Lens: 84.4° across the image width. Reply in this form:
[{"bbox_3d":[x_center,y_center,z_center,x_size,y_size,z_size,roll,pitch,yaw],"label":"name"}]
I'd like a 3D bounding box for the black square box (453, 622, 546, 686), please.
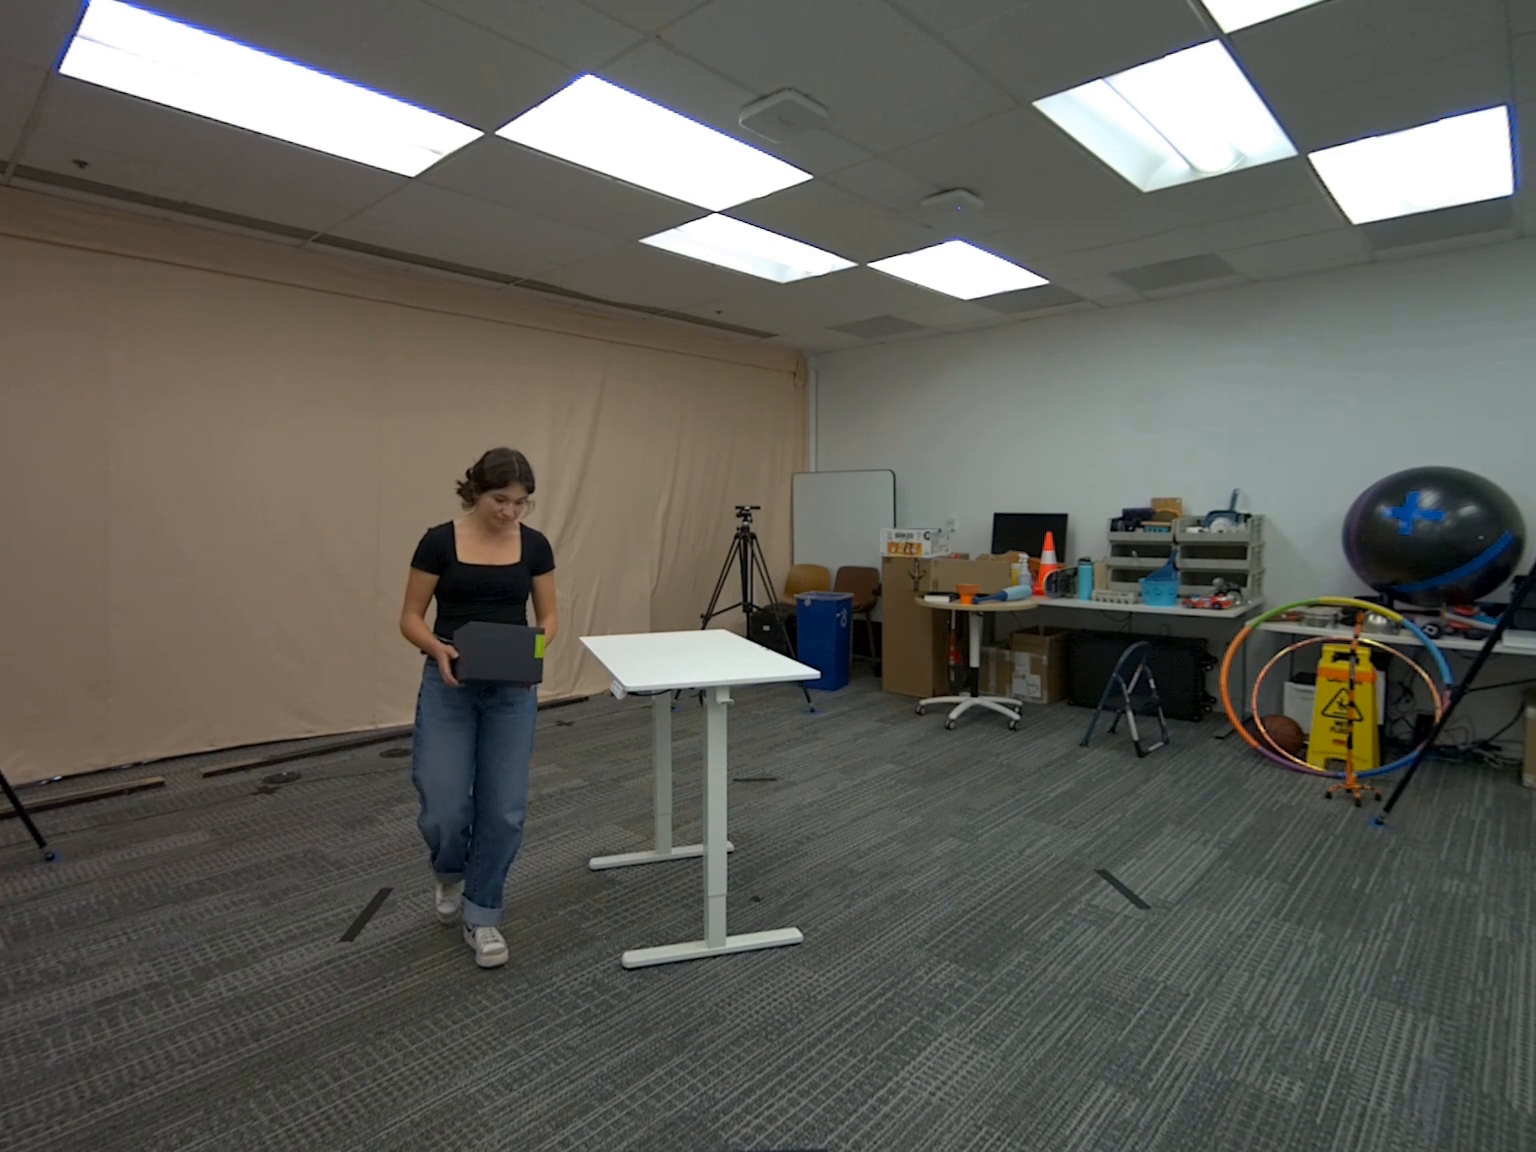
[{"bbox_3d":[-0.792,0.228,2.419,0.211,0.157,0.233,7,-13,-29],"label":"black square box"}]
